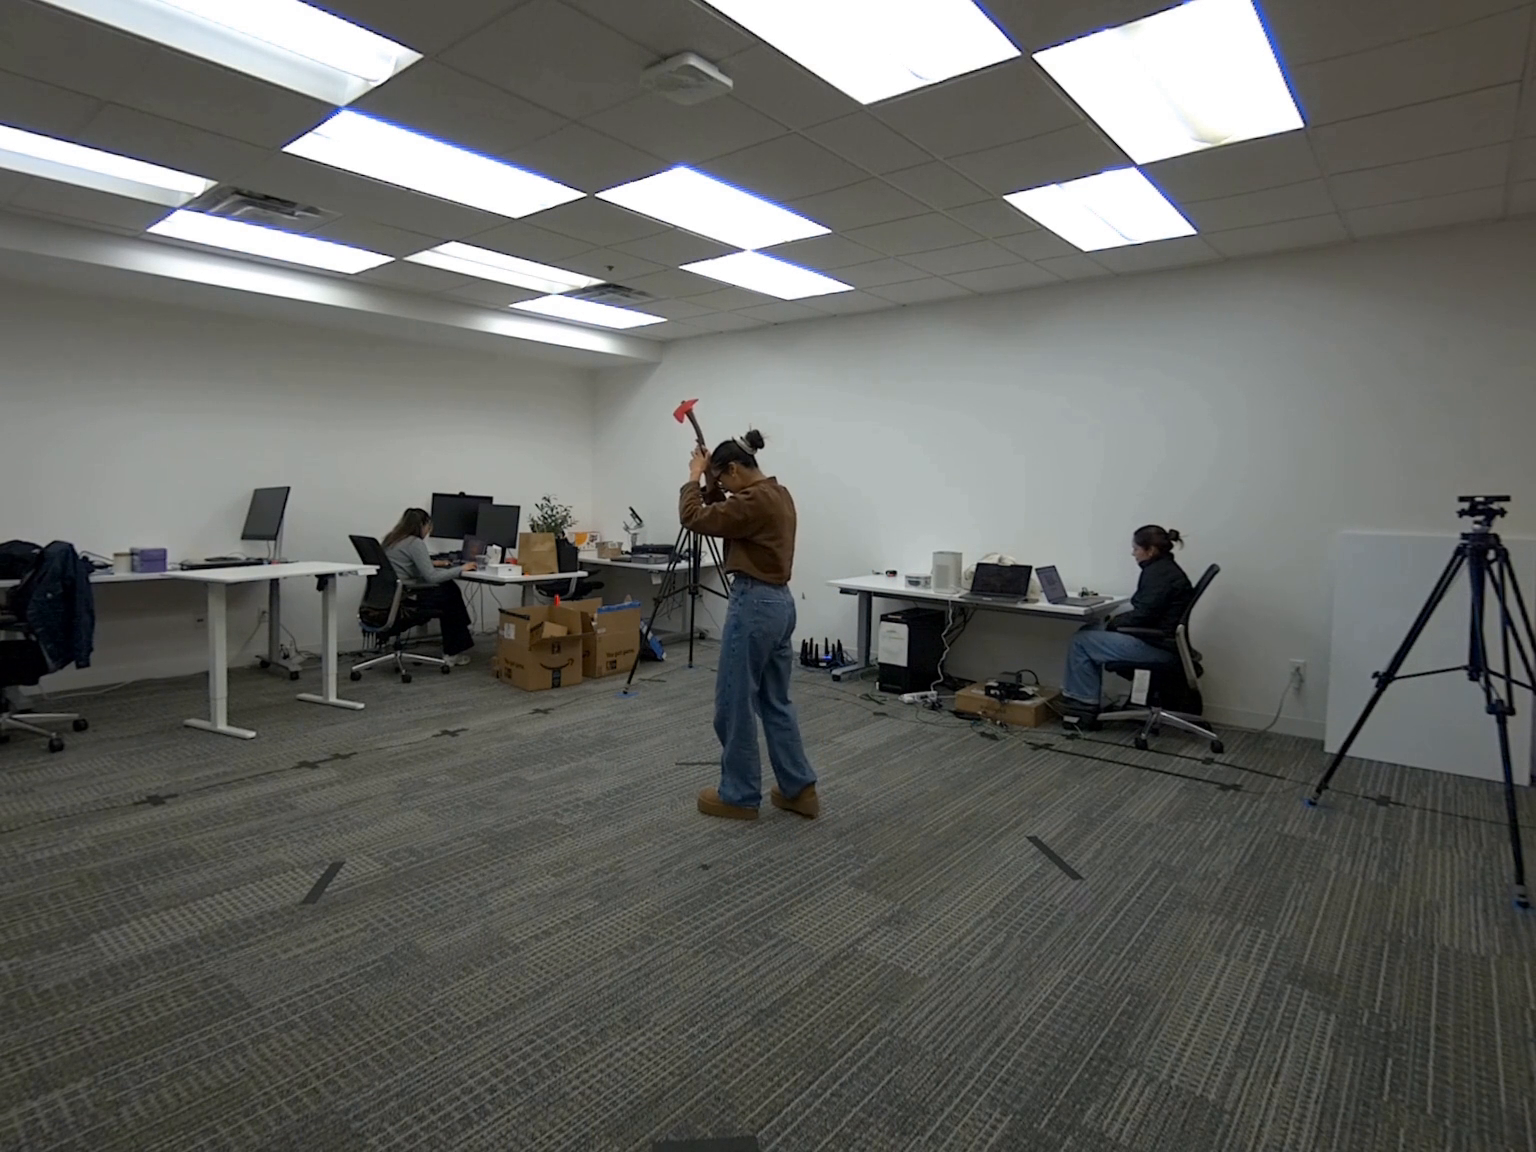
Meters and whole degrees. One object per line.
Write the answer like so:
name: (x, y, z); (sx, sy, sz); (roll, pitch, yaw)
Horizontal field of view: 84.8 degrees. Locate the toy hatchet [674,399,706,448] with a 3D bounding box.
toy hatchet: (-0.353, -0.644, 3.717); (0.133, 0.271, 0.029); (-12, -5, 18)
